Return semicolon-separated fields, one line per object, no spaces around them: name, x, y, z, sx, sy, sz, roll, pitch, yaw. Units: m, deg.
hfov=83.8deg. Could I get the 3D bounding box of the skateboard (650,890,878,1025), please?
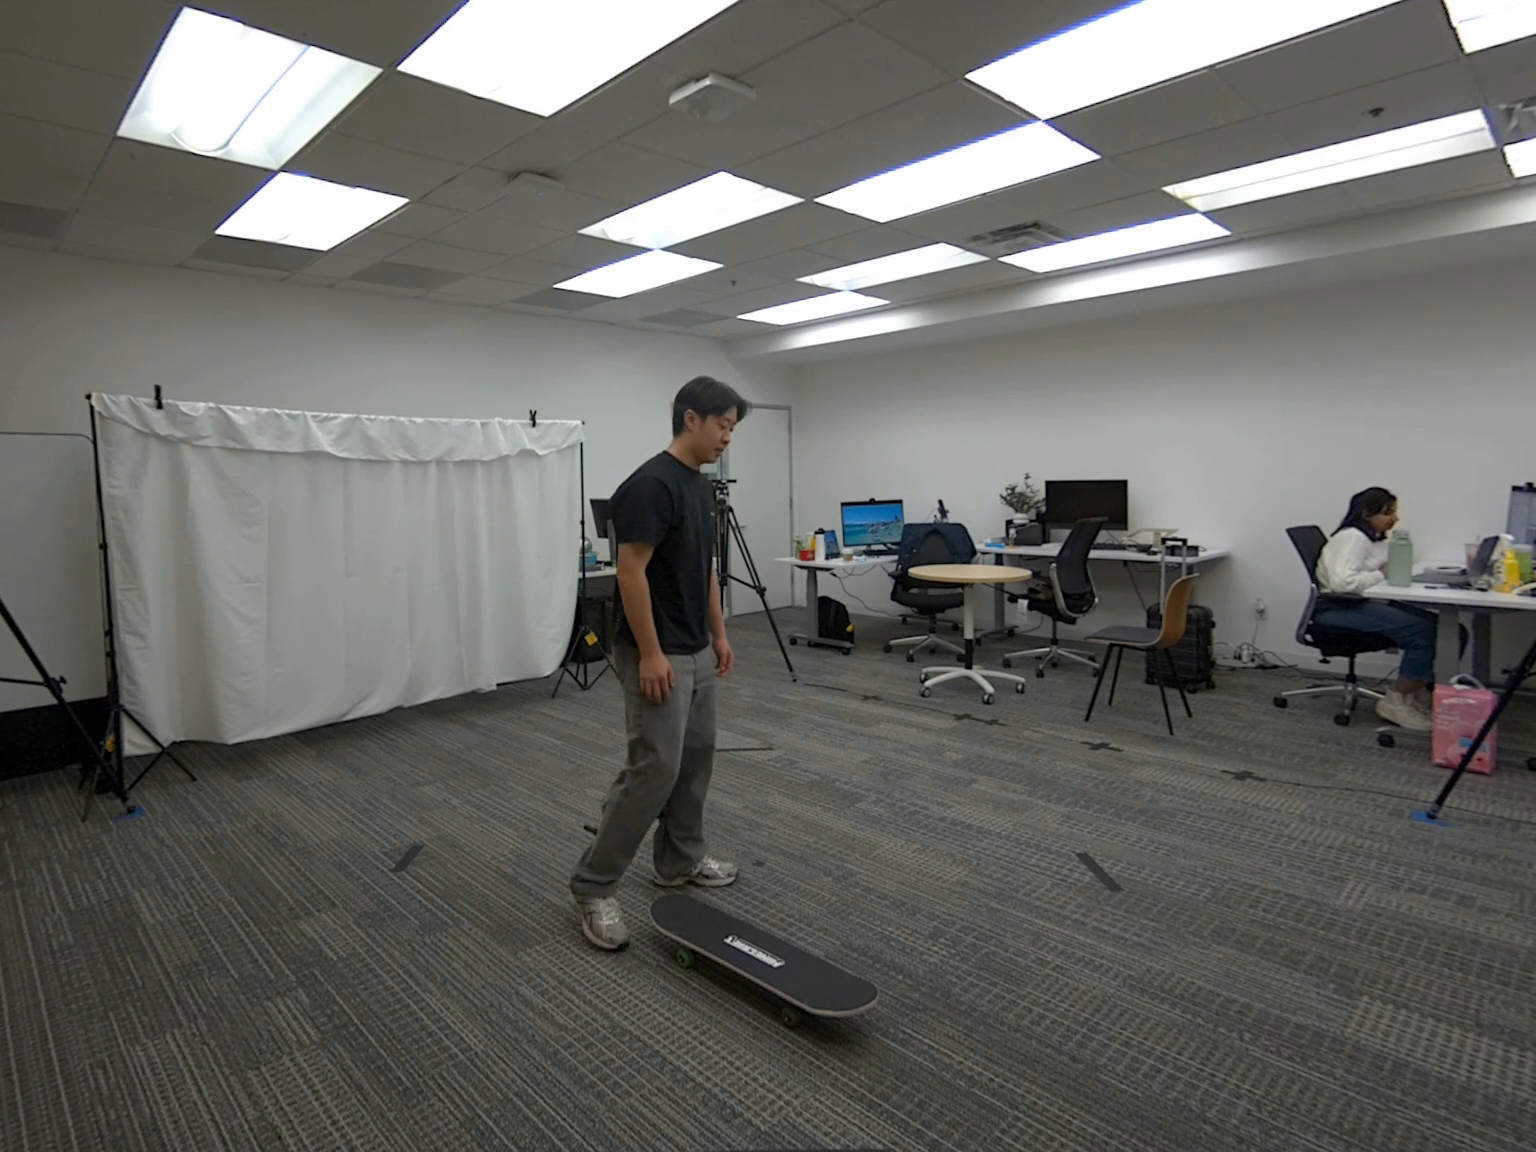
skateboard;-0.031;1.078;2.377;0.809;0.110;0.188;4;8;43
